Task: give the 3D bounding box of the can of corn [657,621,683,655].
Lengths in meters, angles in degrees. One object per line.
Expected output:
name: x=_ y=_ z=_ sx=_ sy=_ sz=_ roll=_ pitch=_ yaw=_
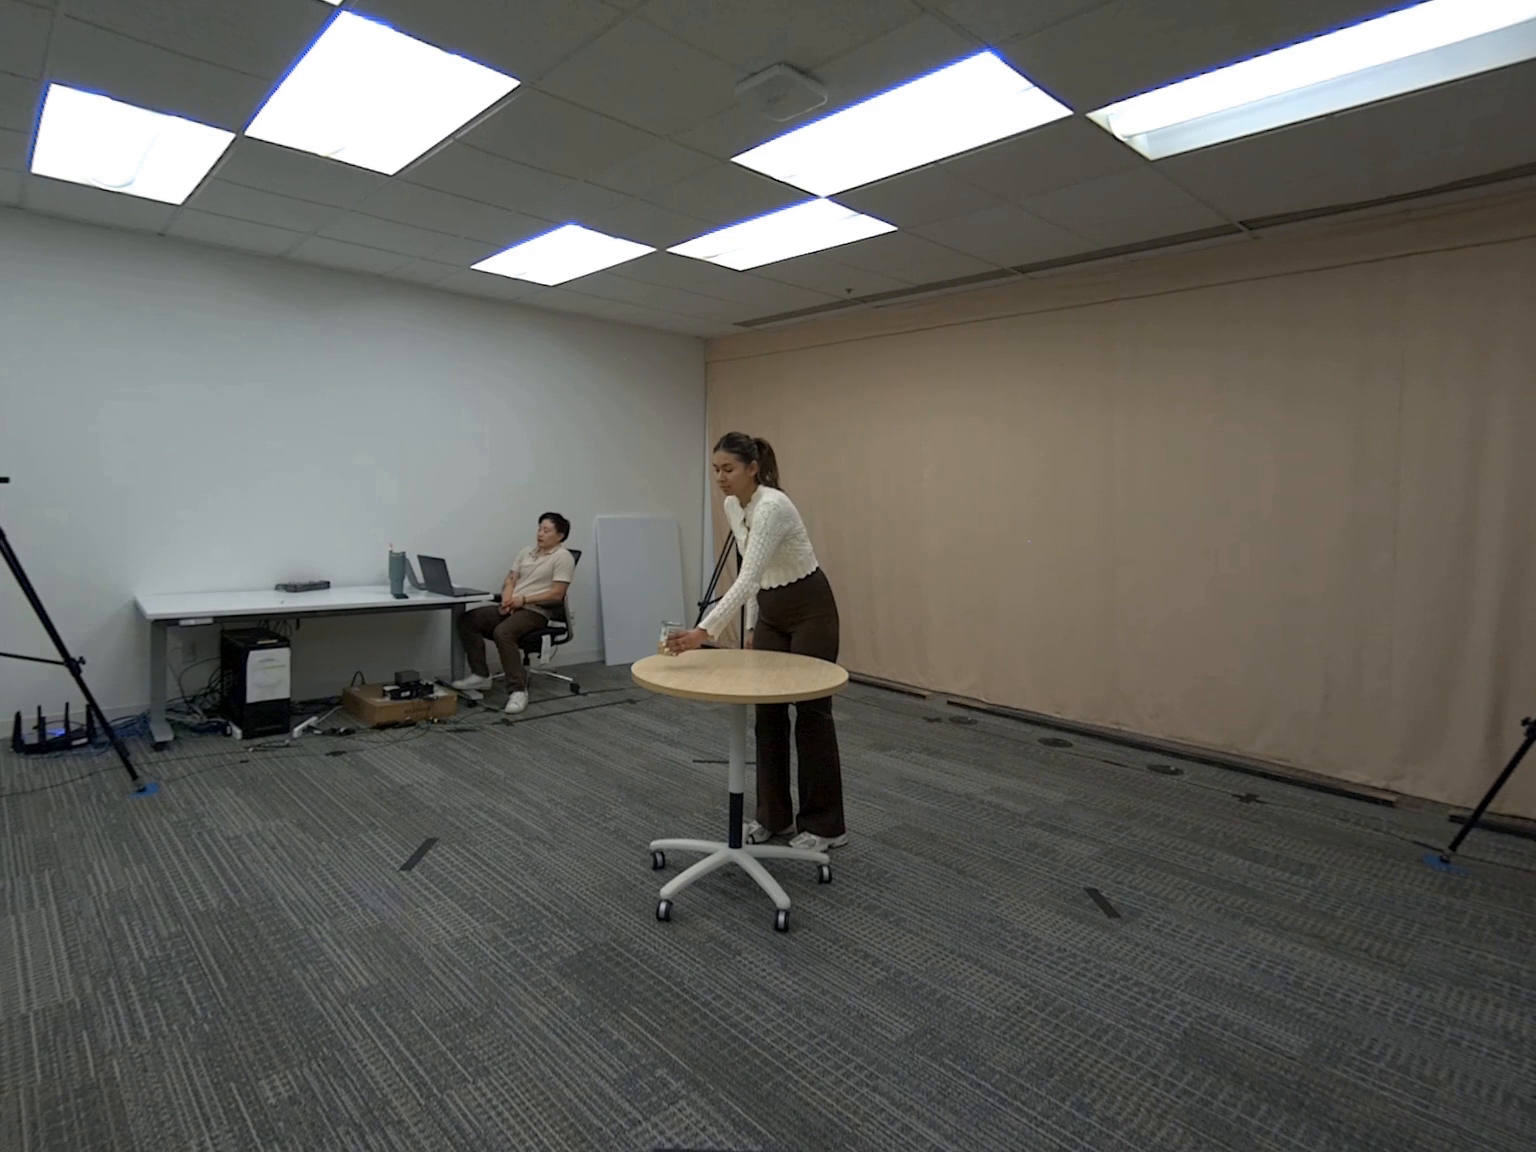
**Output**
can of corn: x=-0.342 y=0.222 z=2.958 sx=0.074 sy=0.111 sz=0.074 roll=7 pitch=4 yaw=-2
